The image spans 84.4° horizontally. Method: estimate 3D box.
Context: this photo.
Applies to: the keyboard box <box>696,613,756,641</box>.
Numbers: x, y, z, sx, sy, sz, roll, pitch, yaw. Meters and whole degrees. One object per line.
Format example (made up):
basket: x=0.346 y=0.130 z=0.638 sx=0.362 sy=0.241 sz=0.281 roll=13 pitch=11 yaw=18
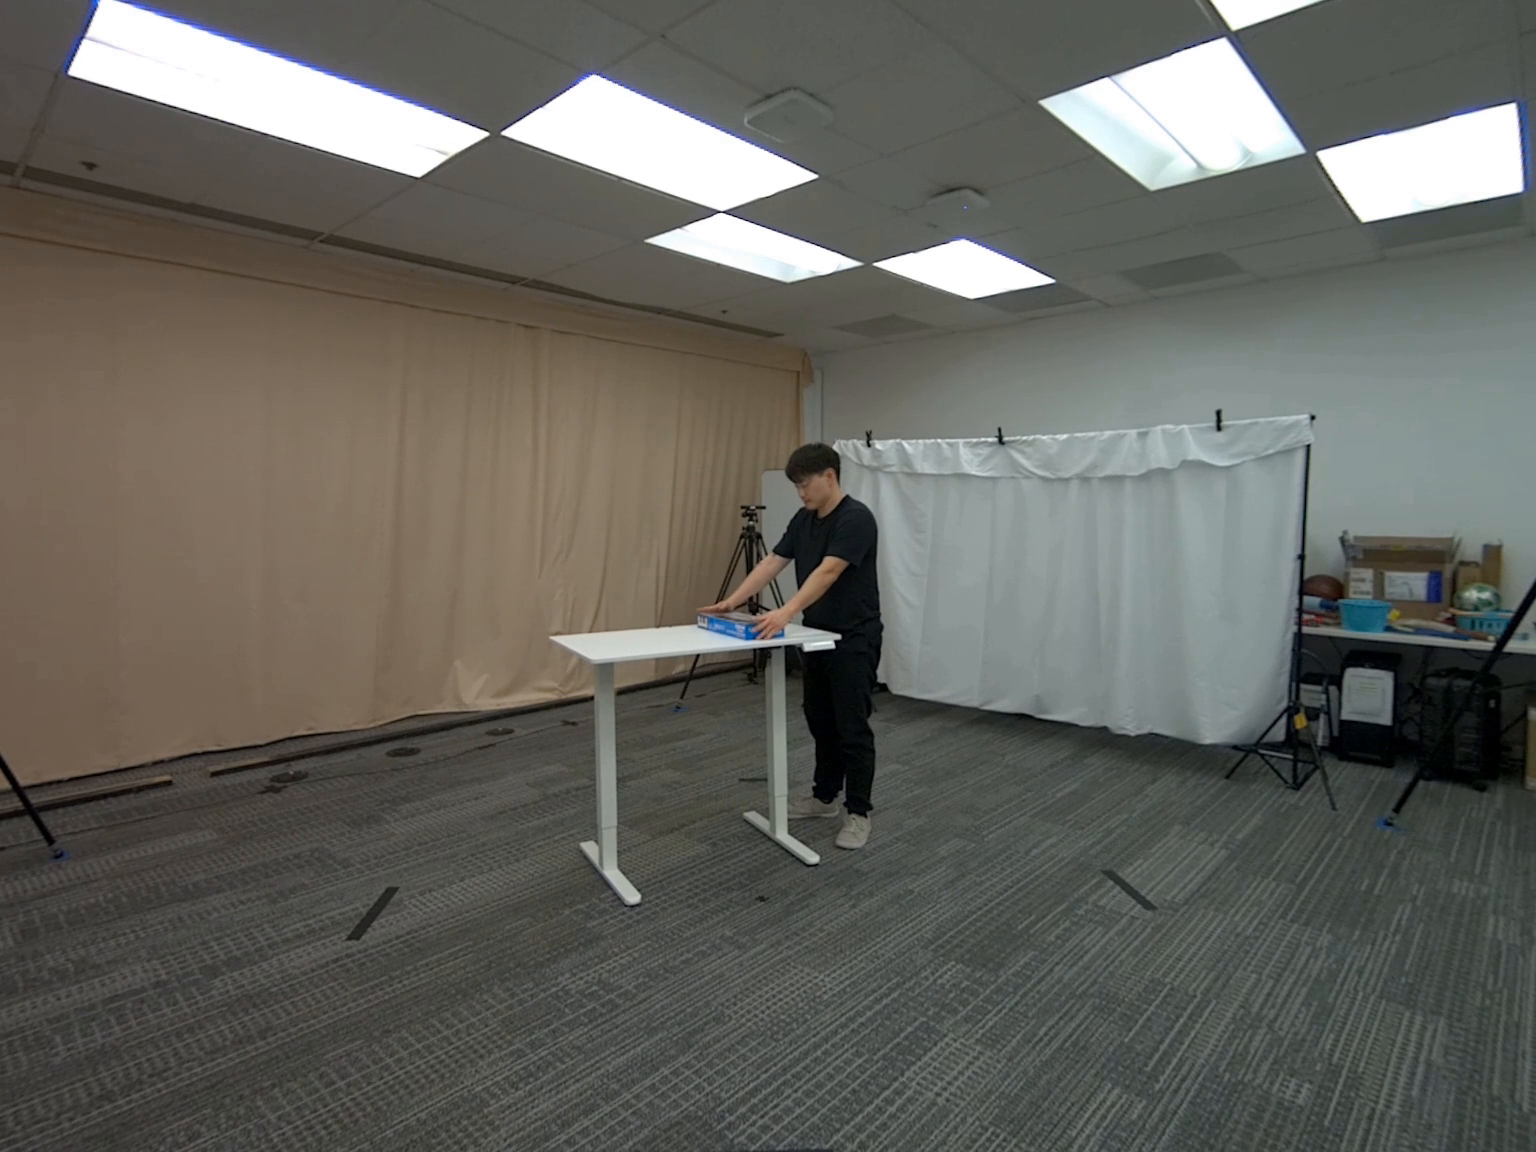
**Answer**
keyboard box: x=-0.116 y=0.197 z=3.412 sx=0.172 sy=0.059 sz=0.449 roll=-4 pitch=6 yaw=-27
